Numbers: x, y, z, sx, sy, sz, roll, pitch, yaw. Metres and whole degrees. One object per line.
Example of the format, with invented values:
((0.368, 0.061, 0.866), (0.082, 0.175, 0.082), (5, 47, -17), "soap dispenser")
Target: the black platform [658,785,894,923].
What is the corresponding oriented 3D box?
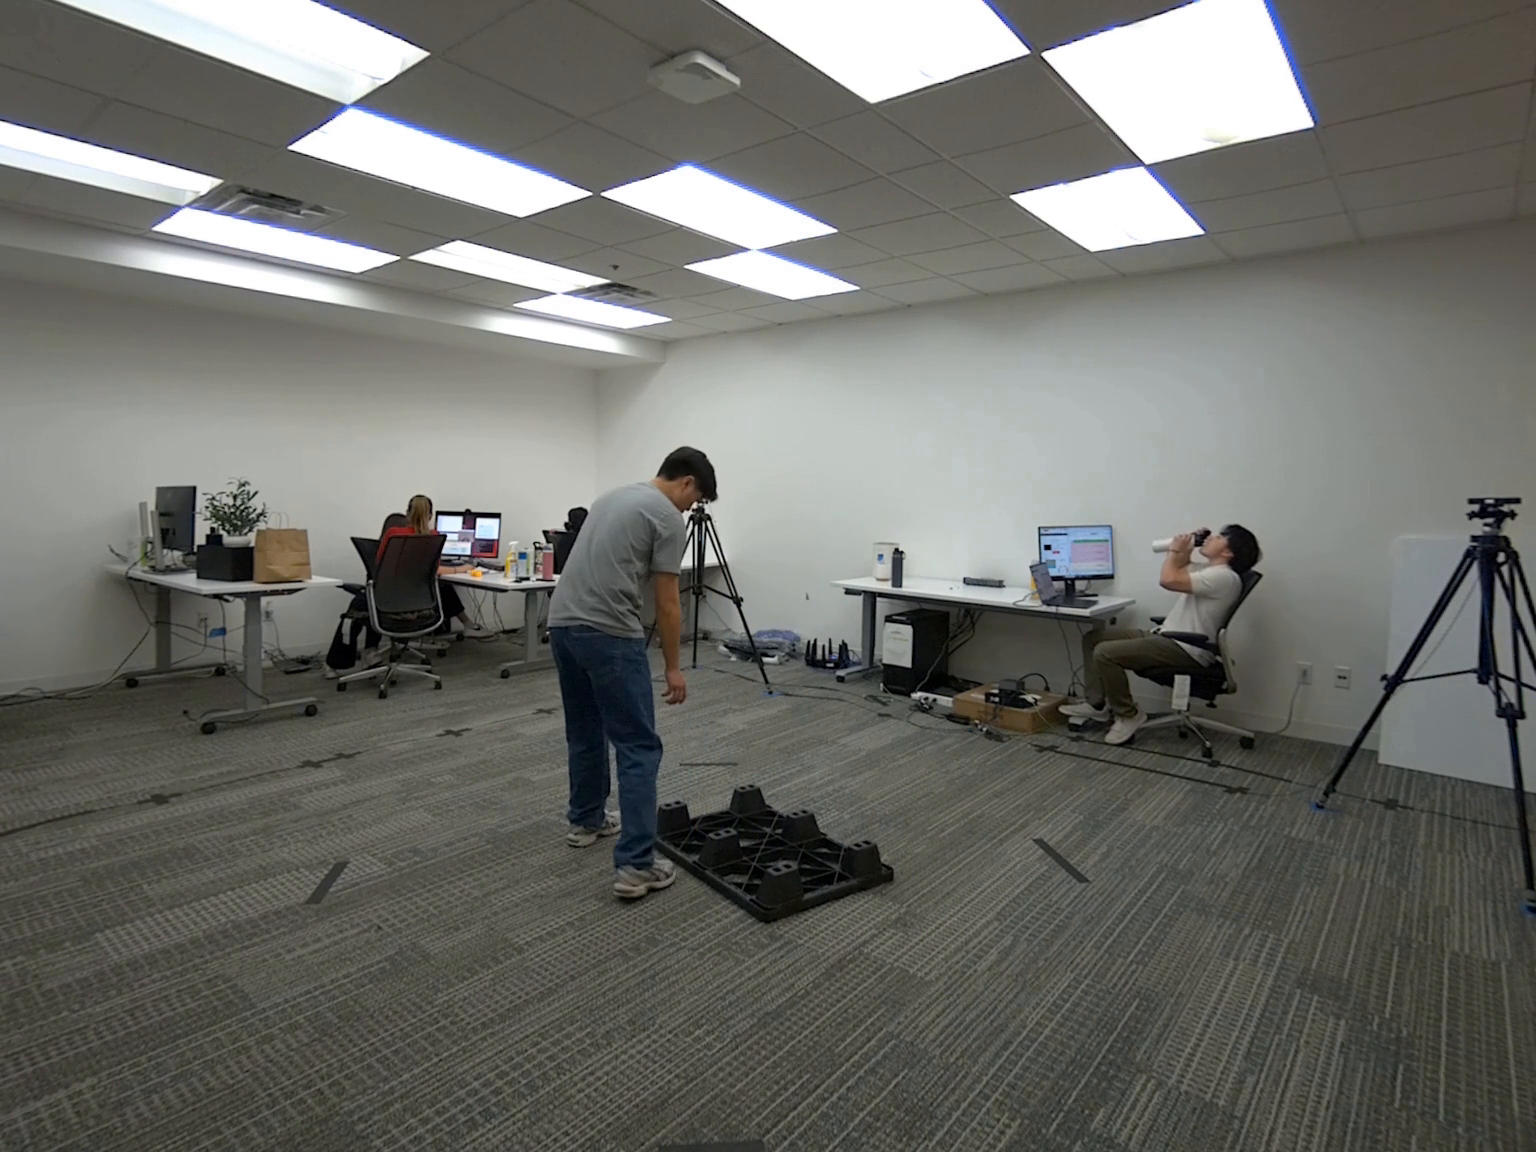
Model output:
((-0.035, 0.993, 3.204), (0.587, 0.143, 0.832), (-2, 6, -37), "black platform")
